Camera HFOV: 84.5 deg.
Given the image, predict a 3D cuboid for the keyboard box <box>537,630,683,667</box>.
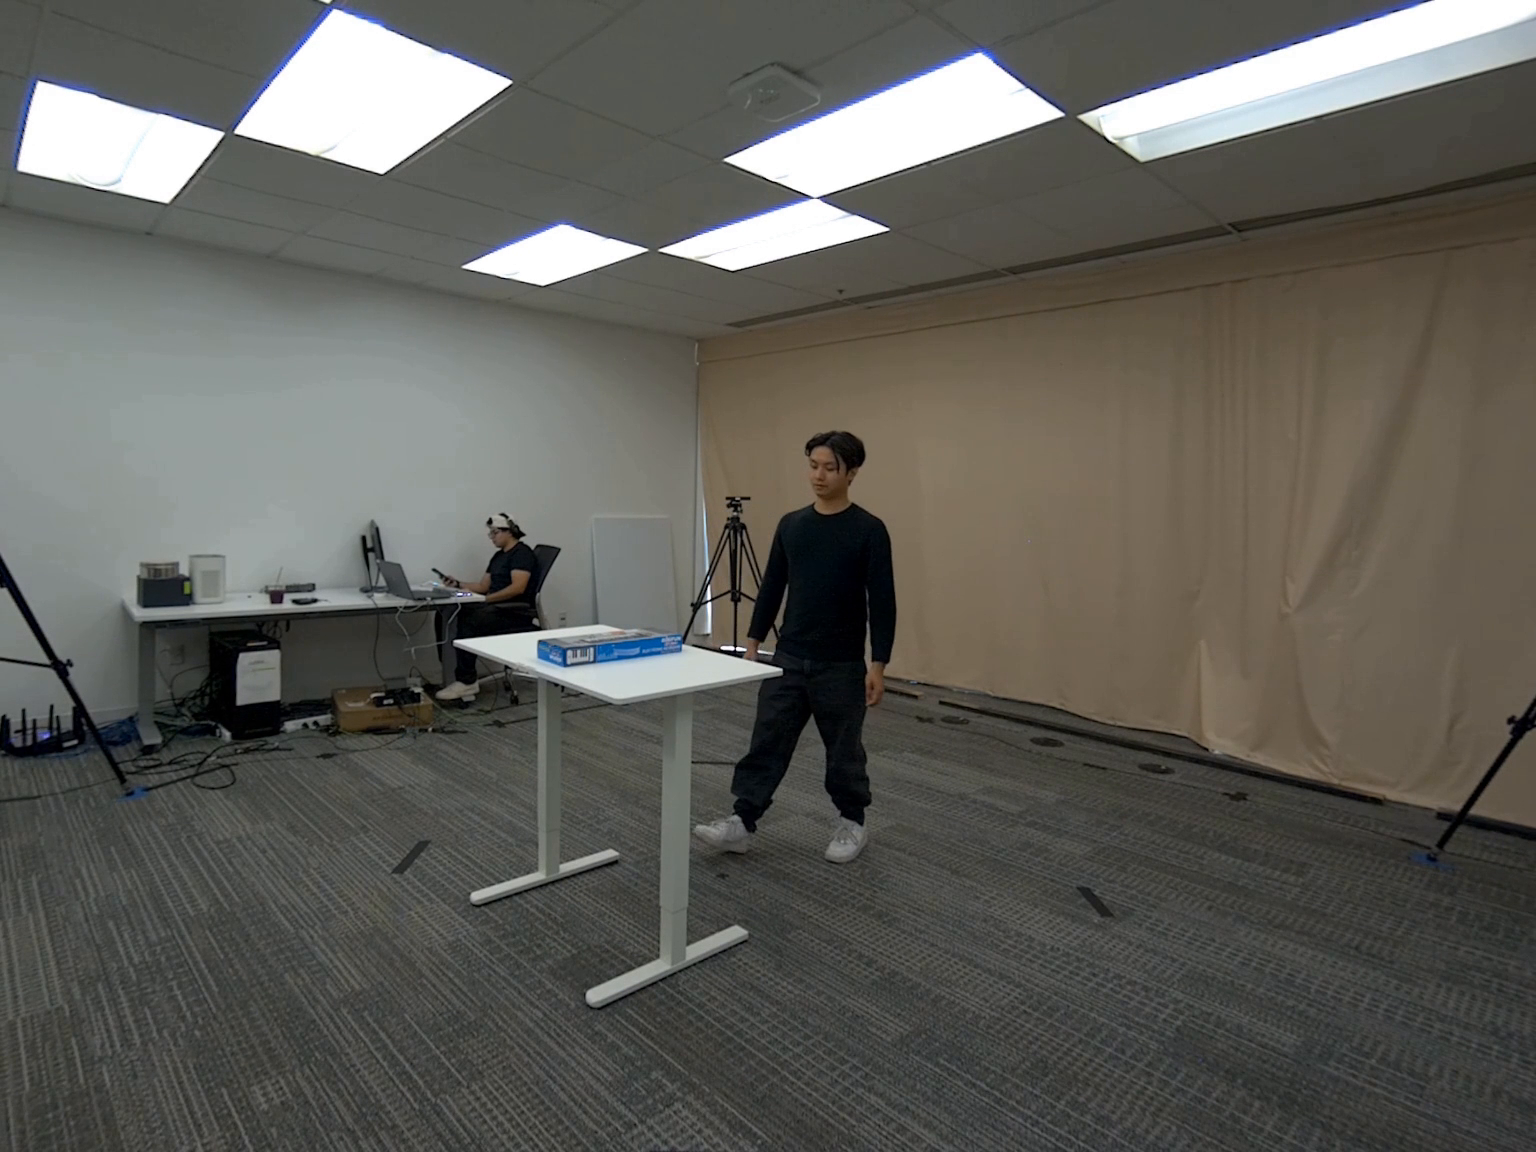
[{"bbox_3d":[-0.507,0.226,2.684,0.427,0.059,0.180,-4,7,-41],"label":"keyboard box"}]
